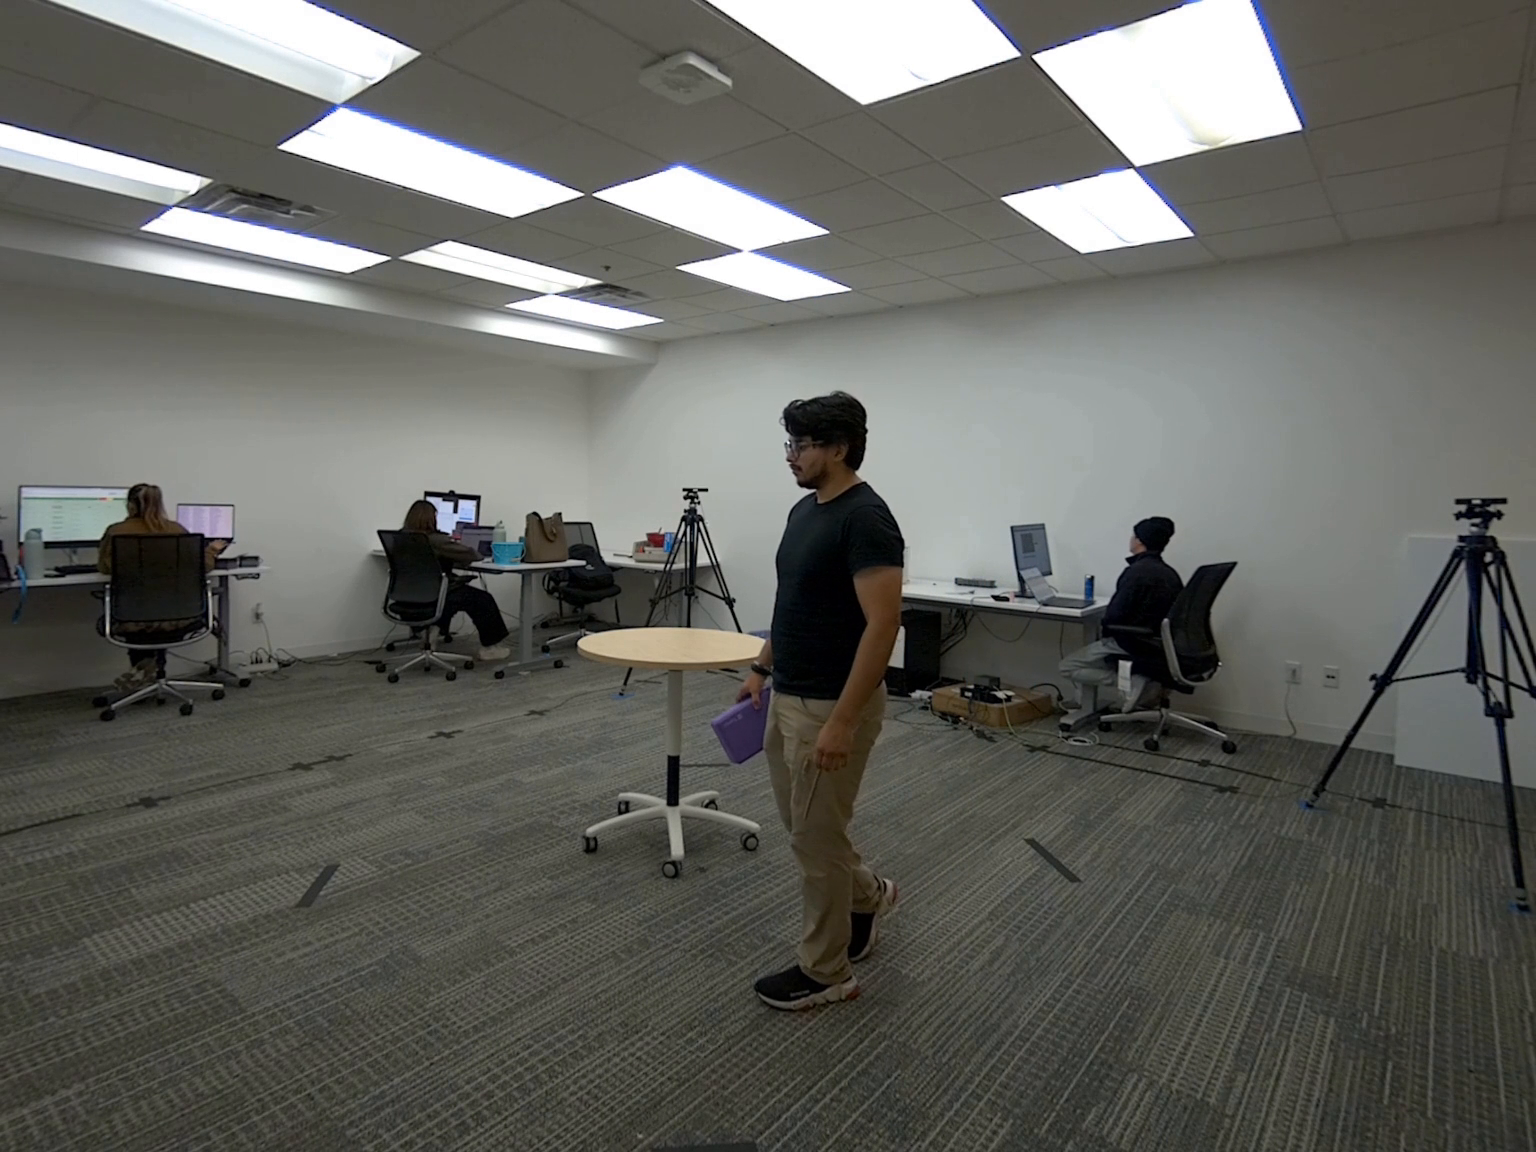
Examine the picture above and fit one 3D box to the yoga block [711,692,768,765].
[{"bbox_3d":[-0.049,0.445,2.592,0.227,0.149,0.077,-30,1,-19],"label":"yoga block"}]
